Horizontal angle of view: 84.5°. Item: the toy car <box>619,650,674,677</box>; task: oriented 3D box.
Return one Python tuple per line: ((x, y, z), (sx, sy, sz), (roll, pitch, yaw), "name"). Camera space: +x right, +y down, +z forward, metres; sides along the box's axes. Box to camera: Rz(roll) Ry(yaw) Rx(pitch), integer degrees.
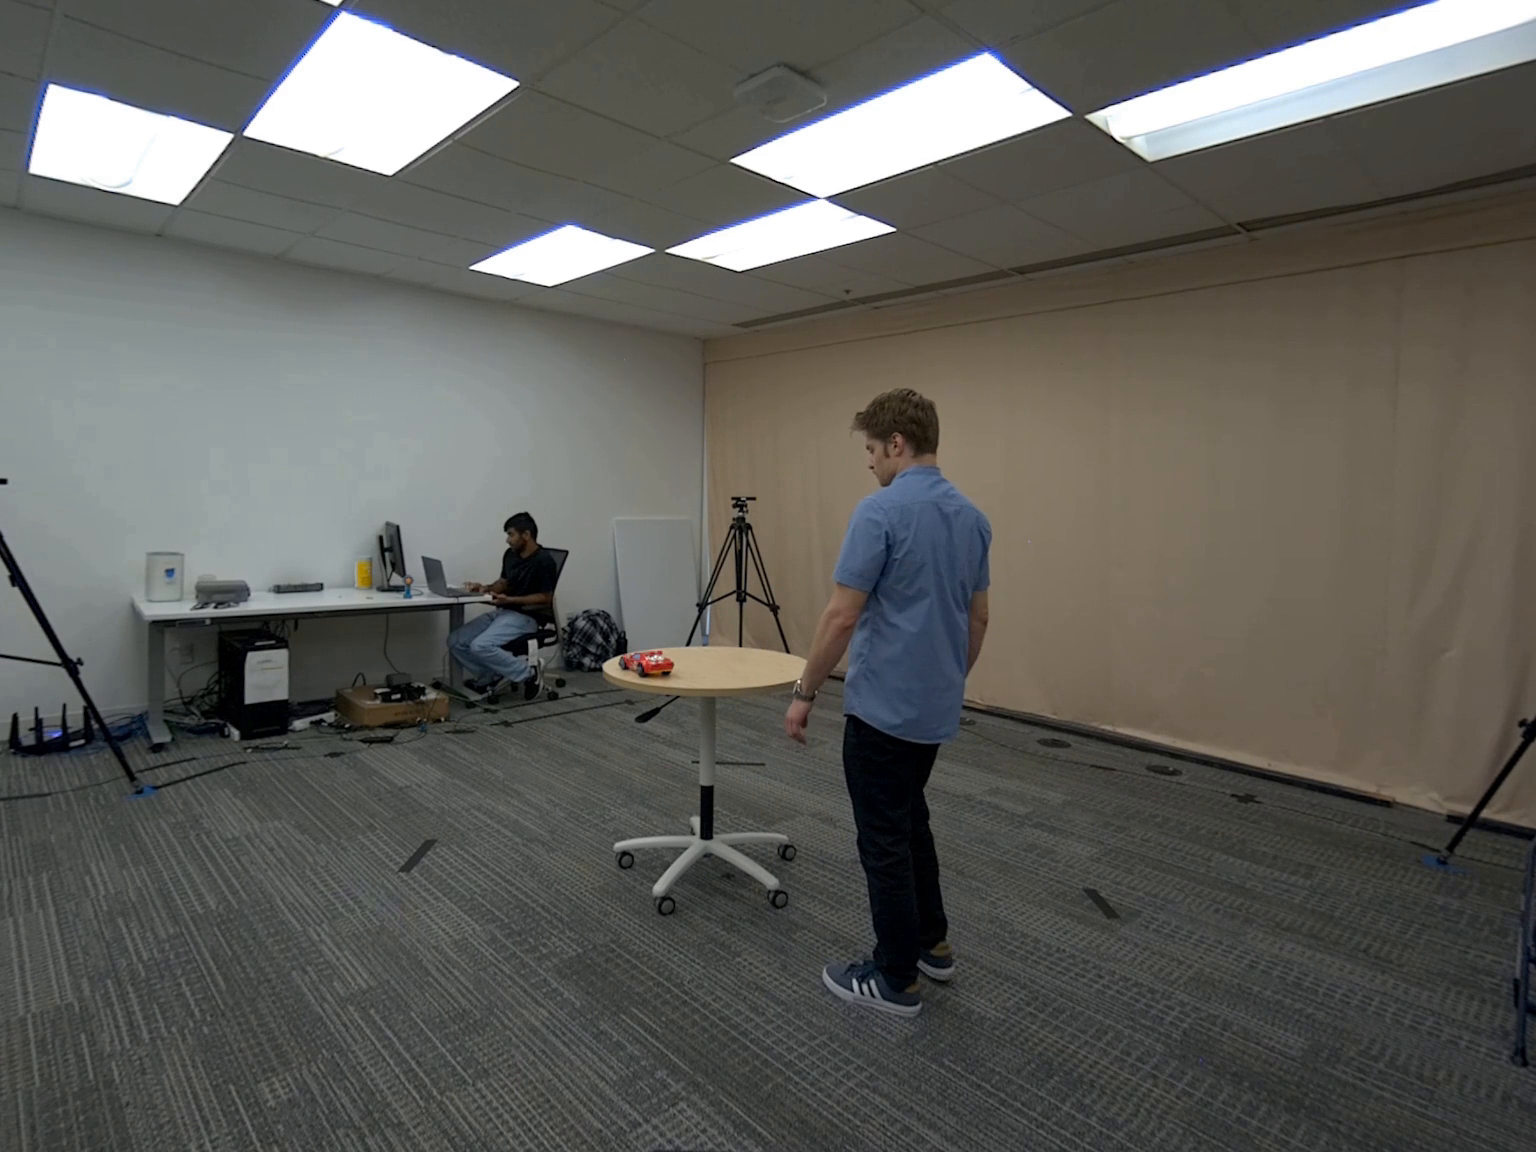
((-0.424, 0.305, 2.909), (0.127, 0.083, 0.259), (-3, -5, -33), "toy car")
